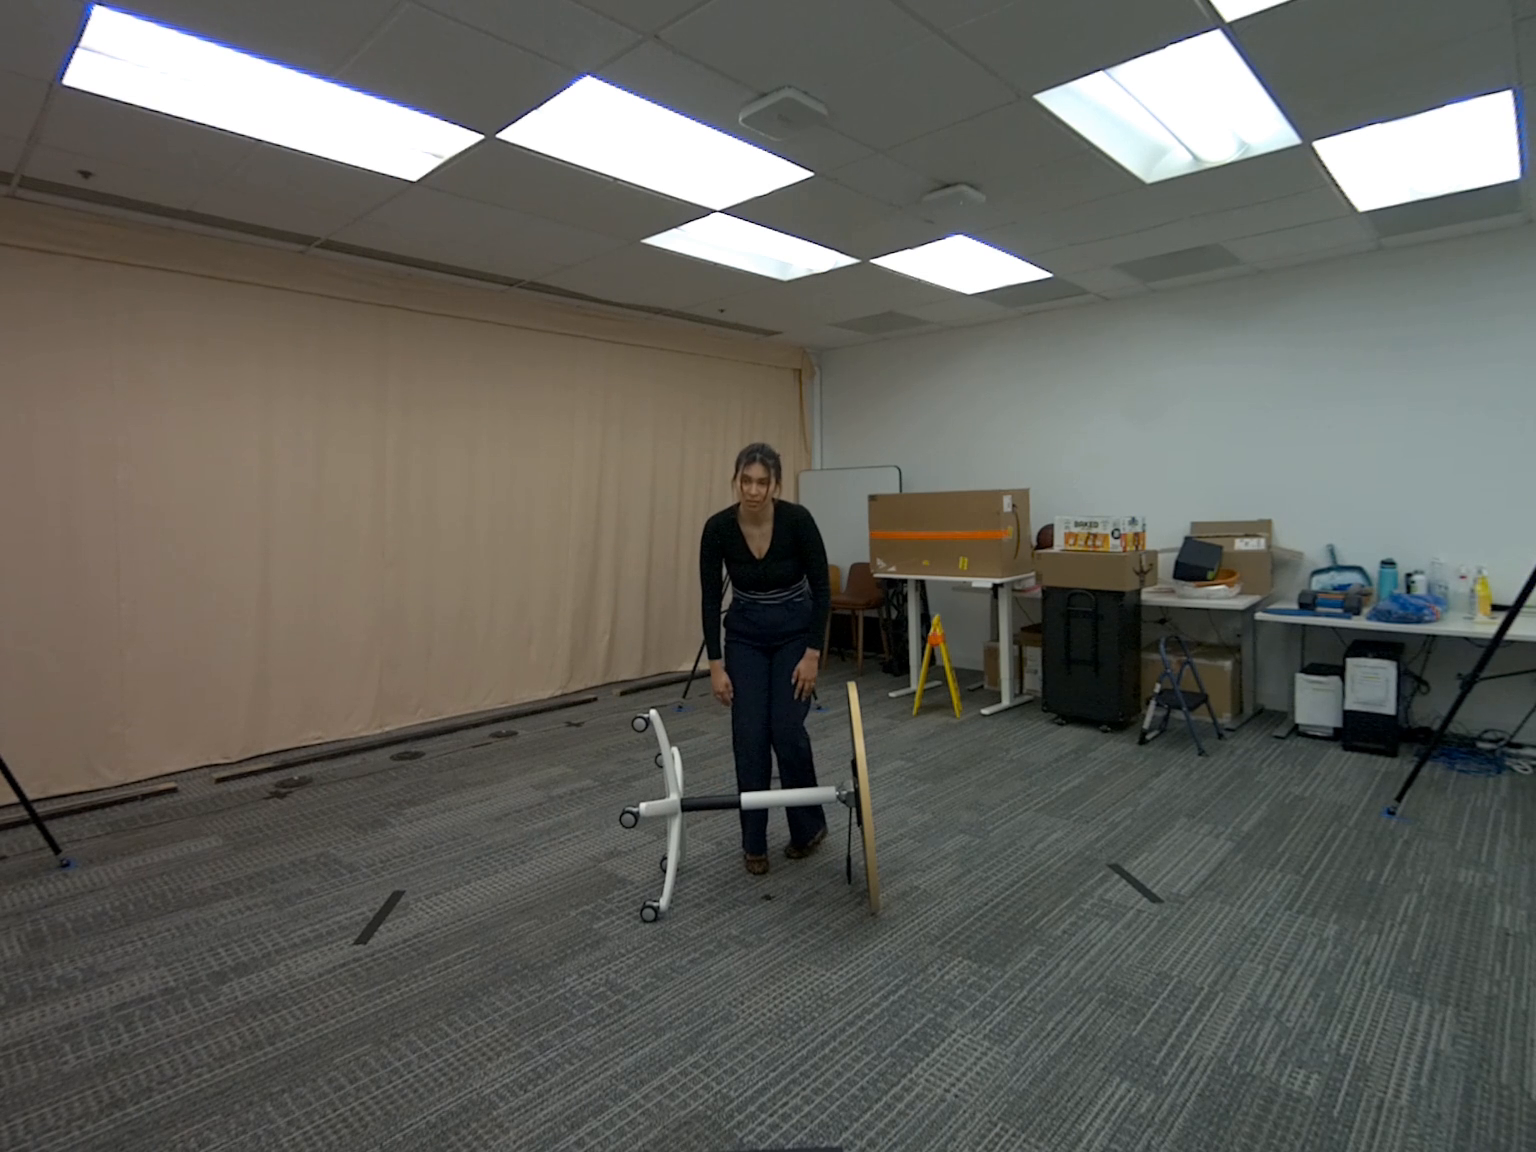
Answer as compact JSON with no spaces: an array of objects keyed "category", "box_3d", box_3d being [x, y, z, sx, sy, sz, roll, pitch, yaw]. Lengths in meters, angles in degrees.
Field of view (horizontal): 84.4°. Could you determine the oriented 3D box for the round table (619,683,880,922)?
[{"category":"round table","box_3d":[-0.053,0.805,2.976,0.798,0.762,0.762,-5,4,4]}]
